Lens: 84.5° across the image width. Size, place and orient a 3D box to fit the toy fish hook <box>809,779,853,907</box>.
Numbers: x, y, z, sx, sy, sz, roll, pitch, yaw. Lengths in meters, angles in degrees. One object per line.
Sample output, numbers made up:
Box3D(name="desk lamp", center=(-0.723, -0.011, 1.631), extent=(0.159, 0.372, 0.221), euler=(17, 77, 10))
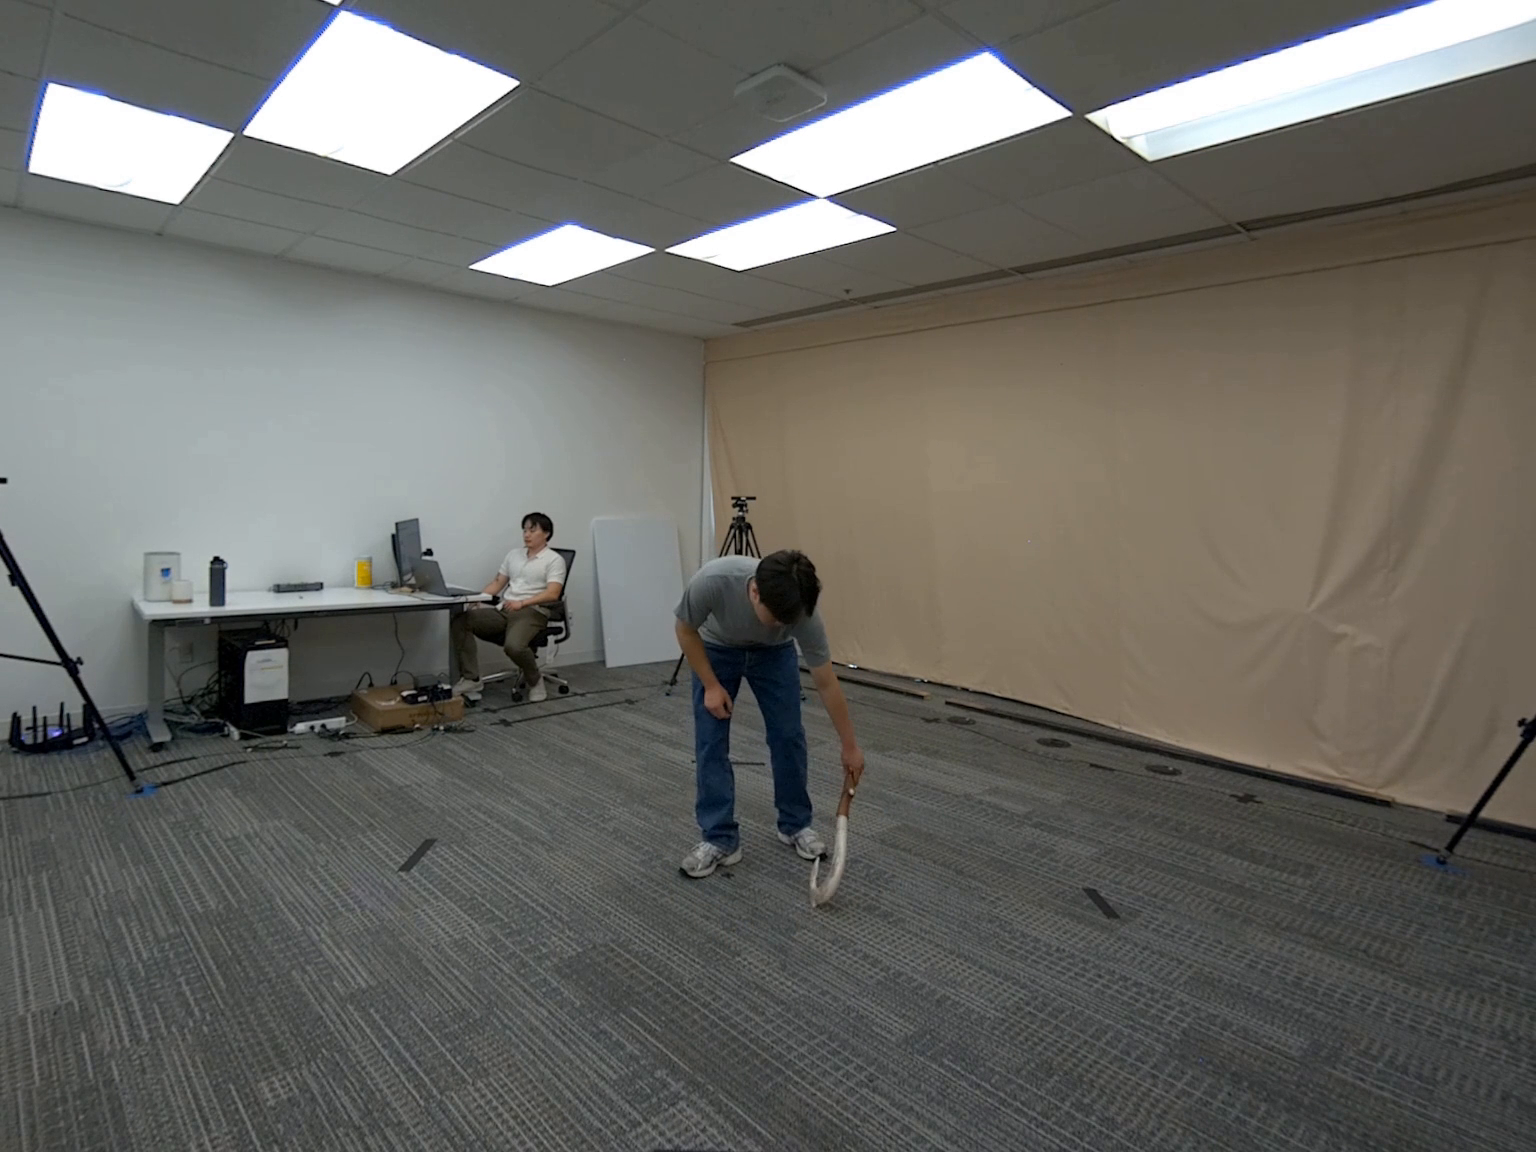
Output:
Box3D(name="toy fish hook", center=(0.227, 0.931, 3.005), extent=(0.048, 0.512, 0.224), euler=(30, -44, -10))
